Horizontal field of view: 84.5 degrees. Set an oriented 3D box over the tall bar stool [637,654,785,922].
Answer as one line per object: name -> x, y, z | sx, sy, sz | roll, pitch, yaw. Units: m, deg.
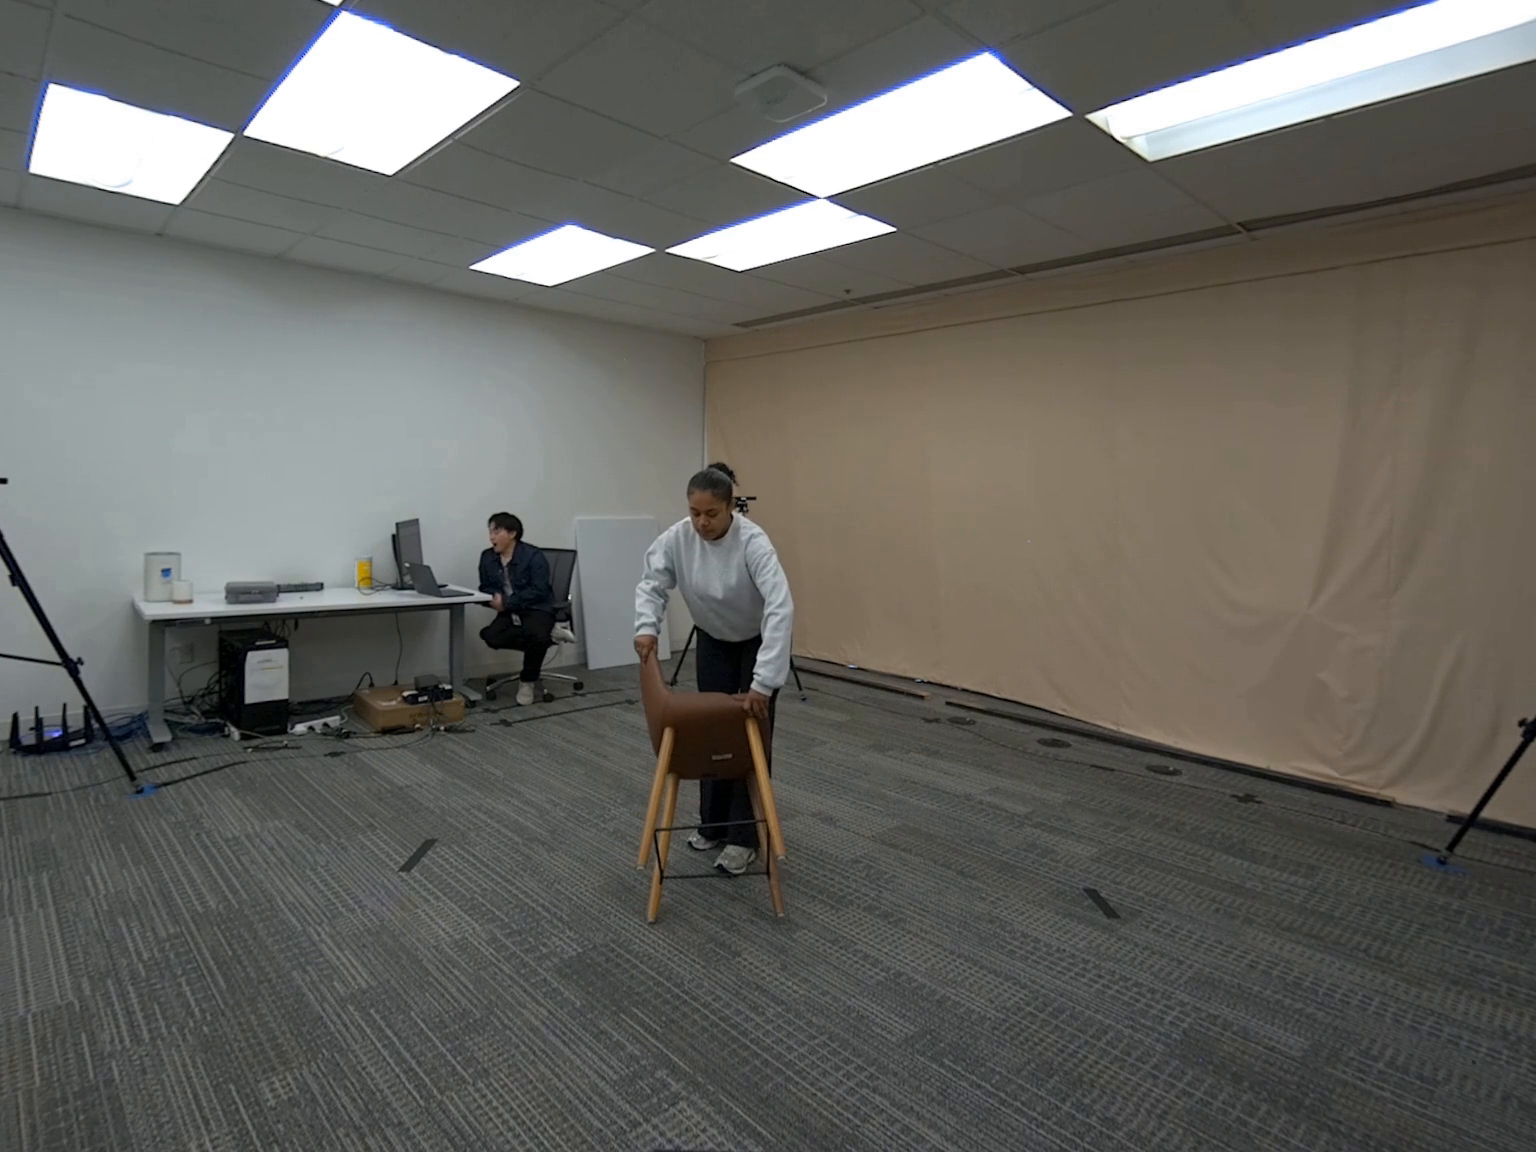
tall bar stool -> -0.222, 0.693, 2.953 | 0.467, 0.446, 0.912 | -6, 43, -3
